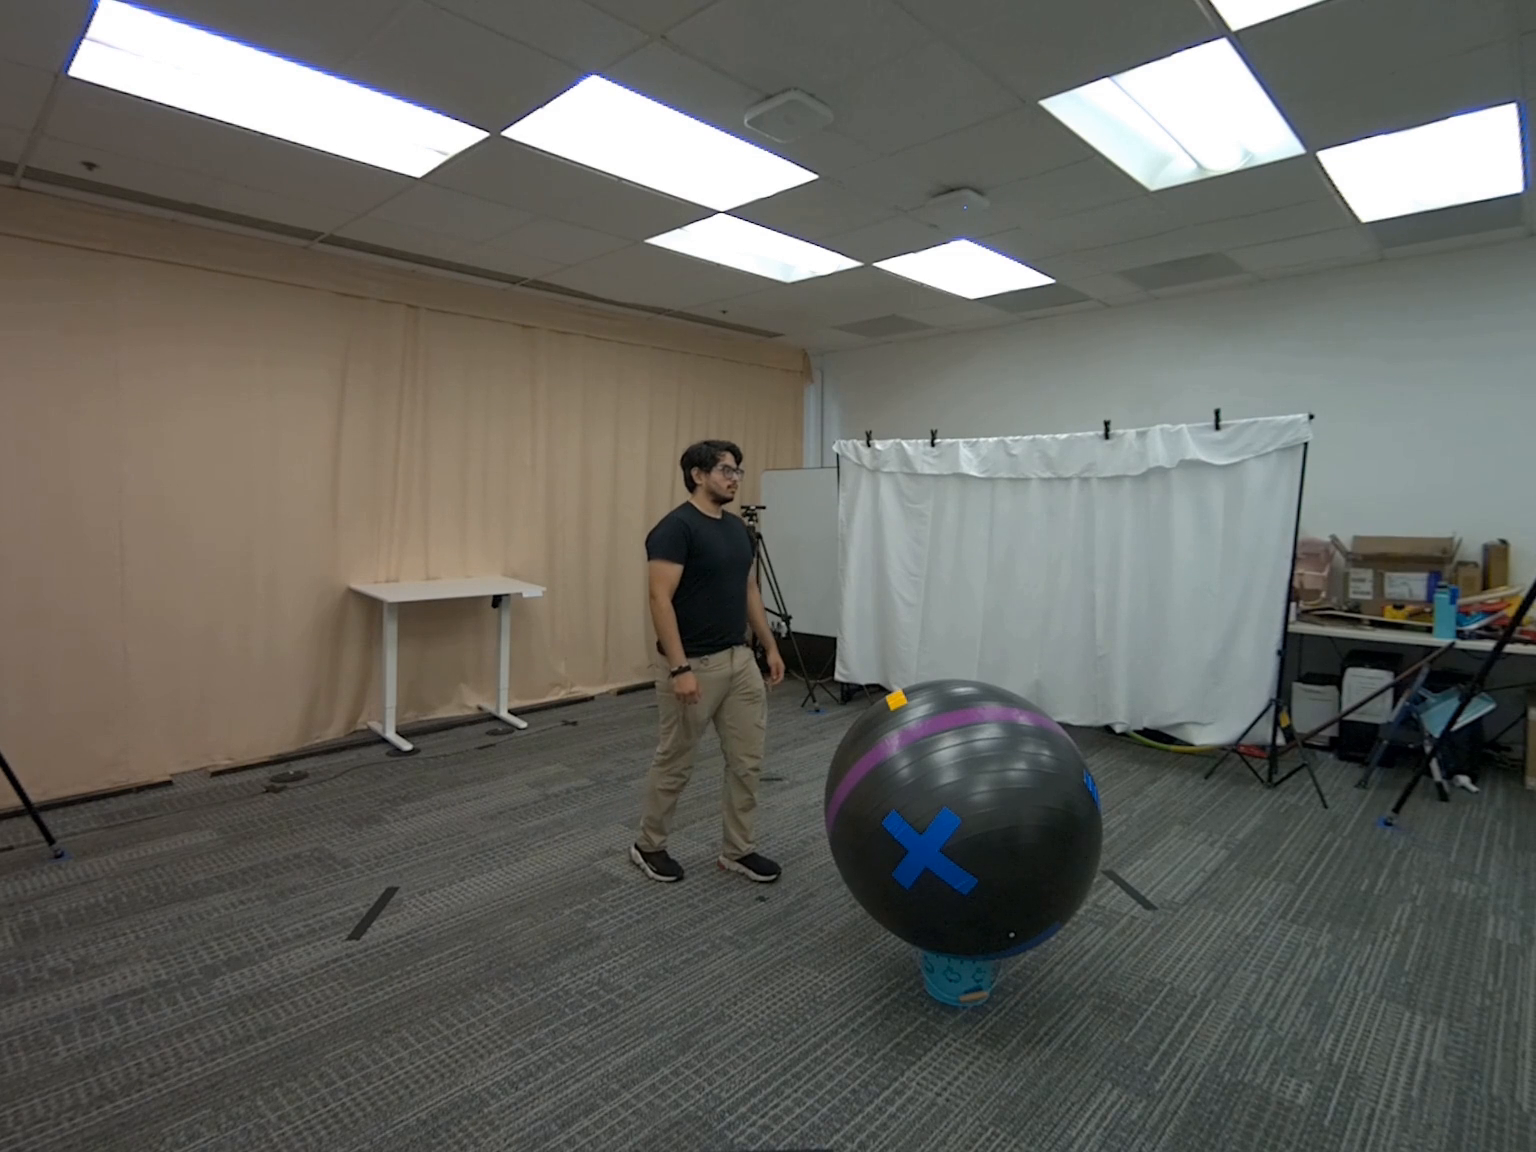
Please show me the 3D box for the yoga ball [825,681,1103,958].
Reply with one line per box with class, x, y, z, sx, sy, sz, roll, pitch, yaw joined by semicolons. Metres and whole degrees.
yoga ball;0.547;0.680;2.409;0.757;0.756;0.760;0;4;-2
